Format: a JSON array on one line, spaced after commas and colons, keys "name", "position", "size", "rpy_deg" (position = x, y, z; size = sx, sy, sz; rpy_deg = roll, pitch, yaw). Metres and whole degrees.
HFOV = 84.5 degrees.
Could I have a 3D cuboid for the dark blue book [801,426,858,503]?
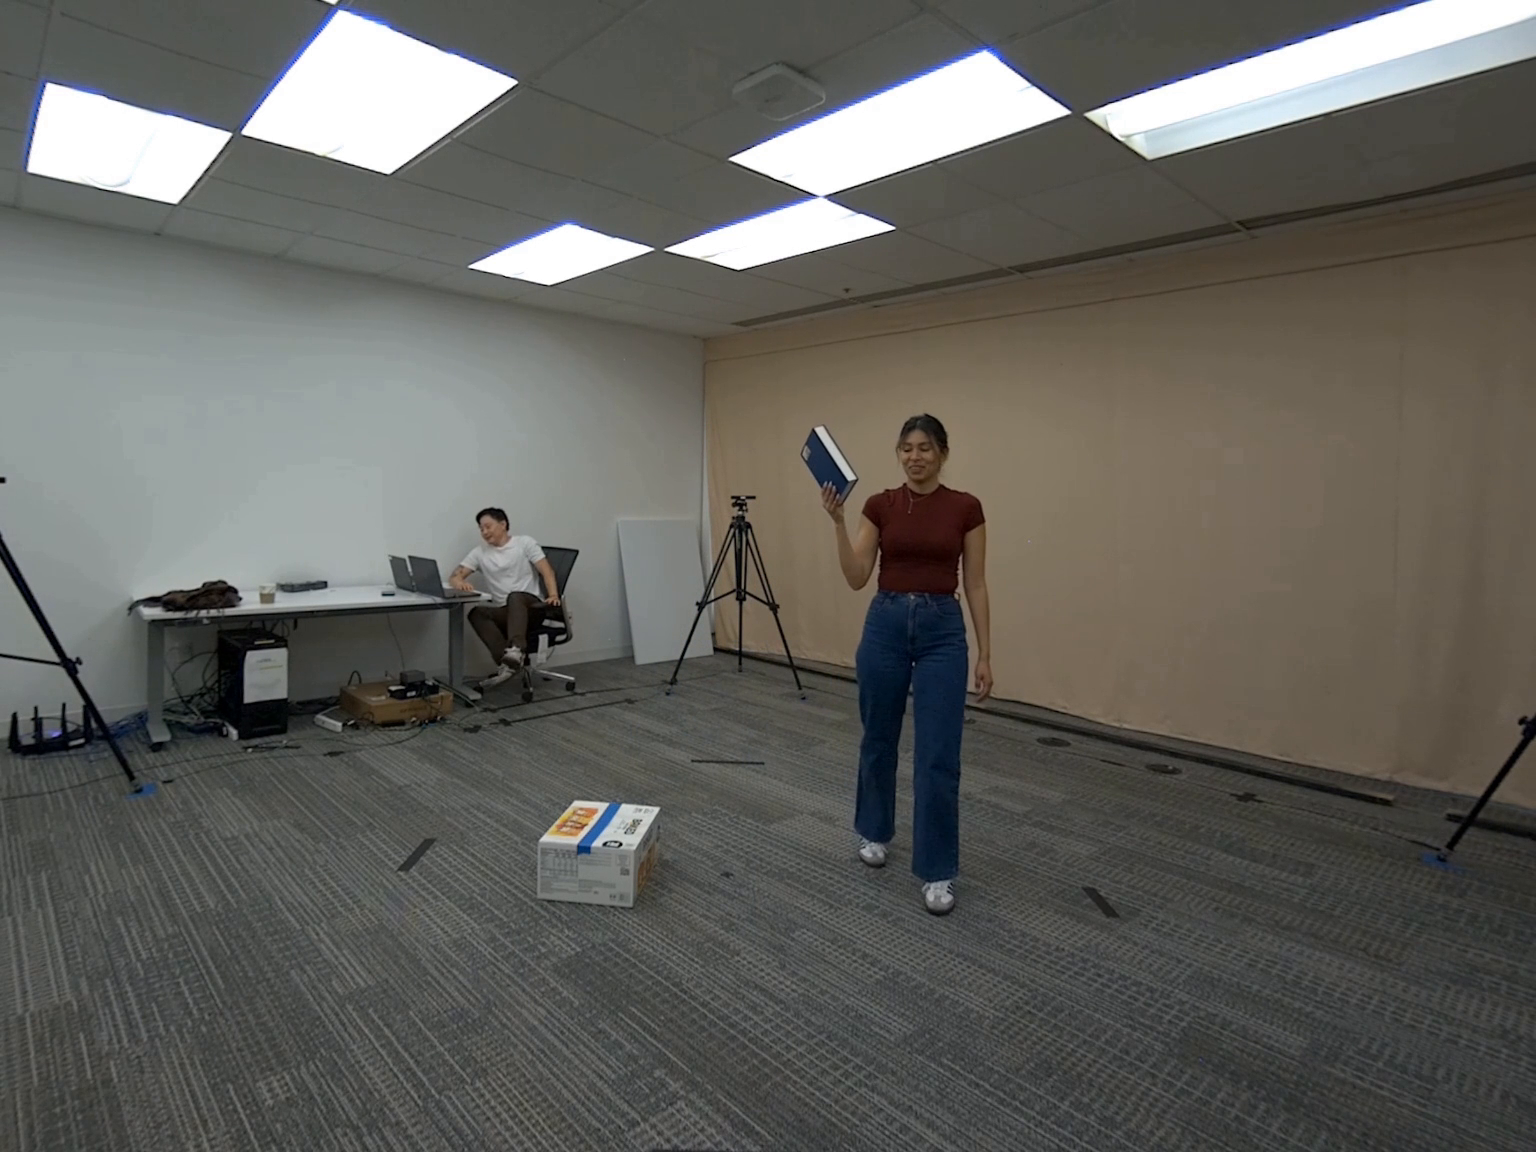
[{"name": "dark blue book", "position": [0.206, -0.384, 2.946], "size": [0.044, 0.250, 0.162], "rpy_deg": [-19, -24, -25]}]
